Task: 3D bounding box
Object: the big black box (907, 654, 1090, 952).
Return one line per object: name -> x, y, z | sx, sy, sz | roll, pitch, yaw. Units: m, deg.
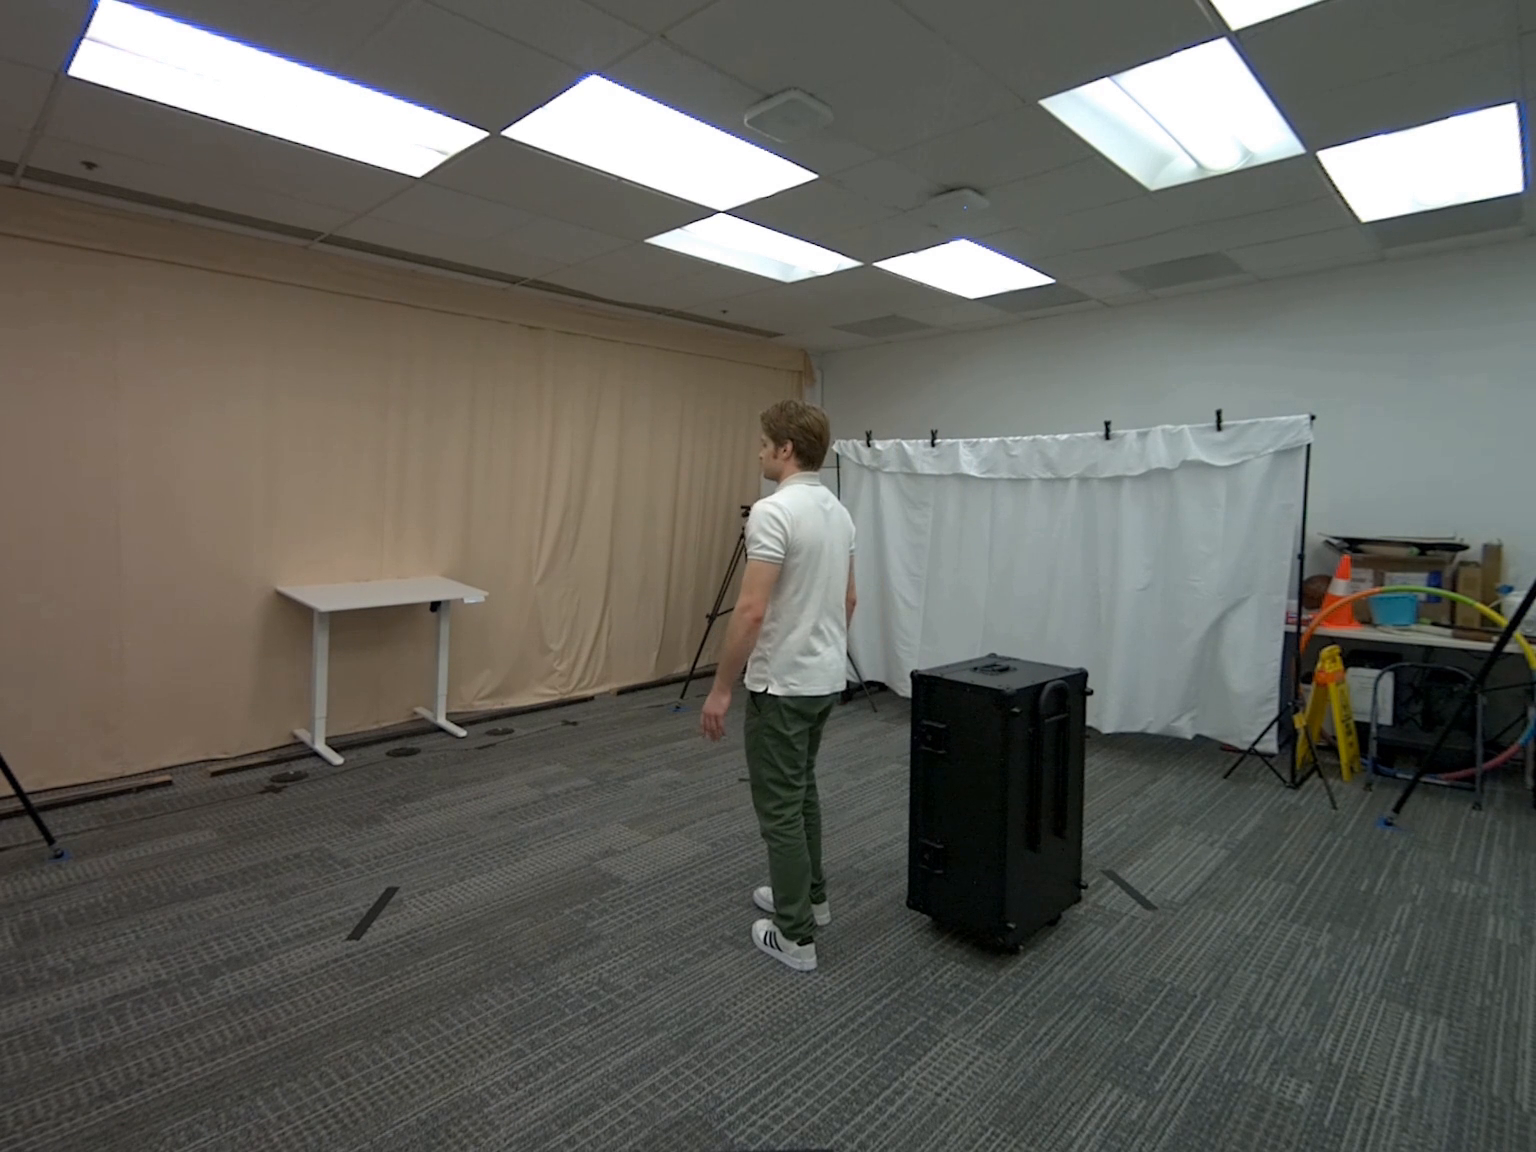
big black box -> 0.770, 0.738, 2.772 | 0.398, 0.866, 0.507 | 3, 6, 44
